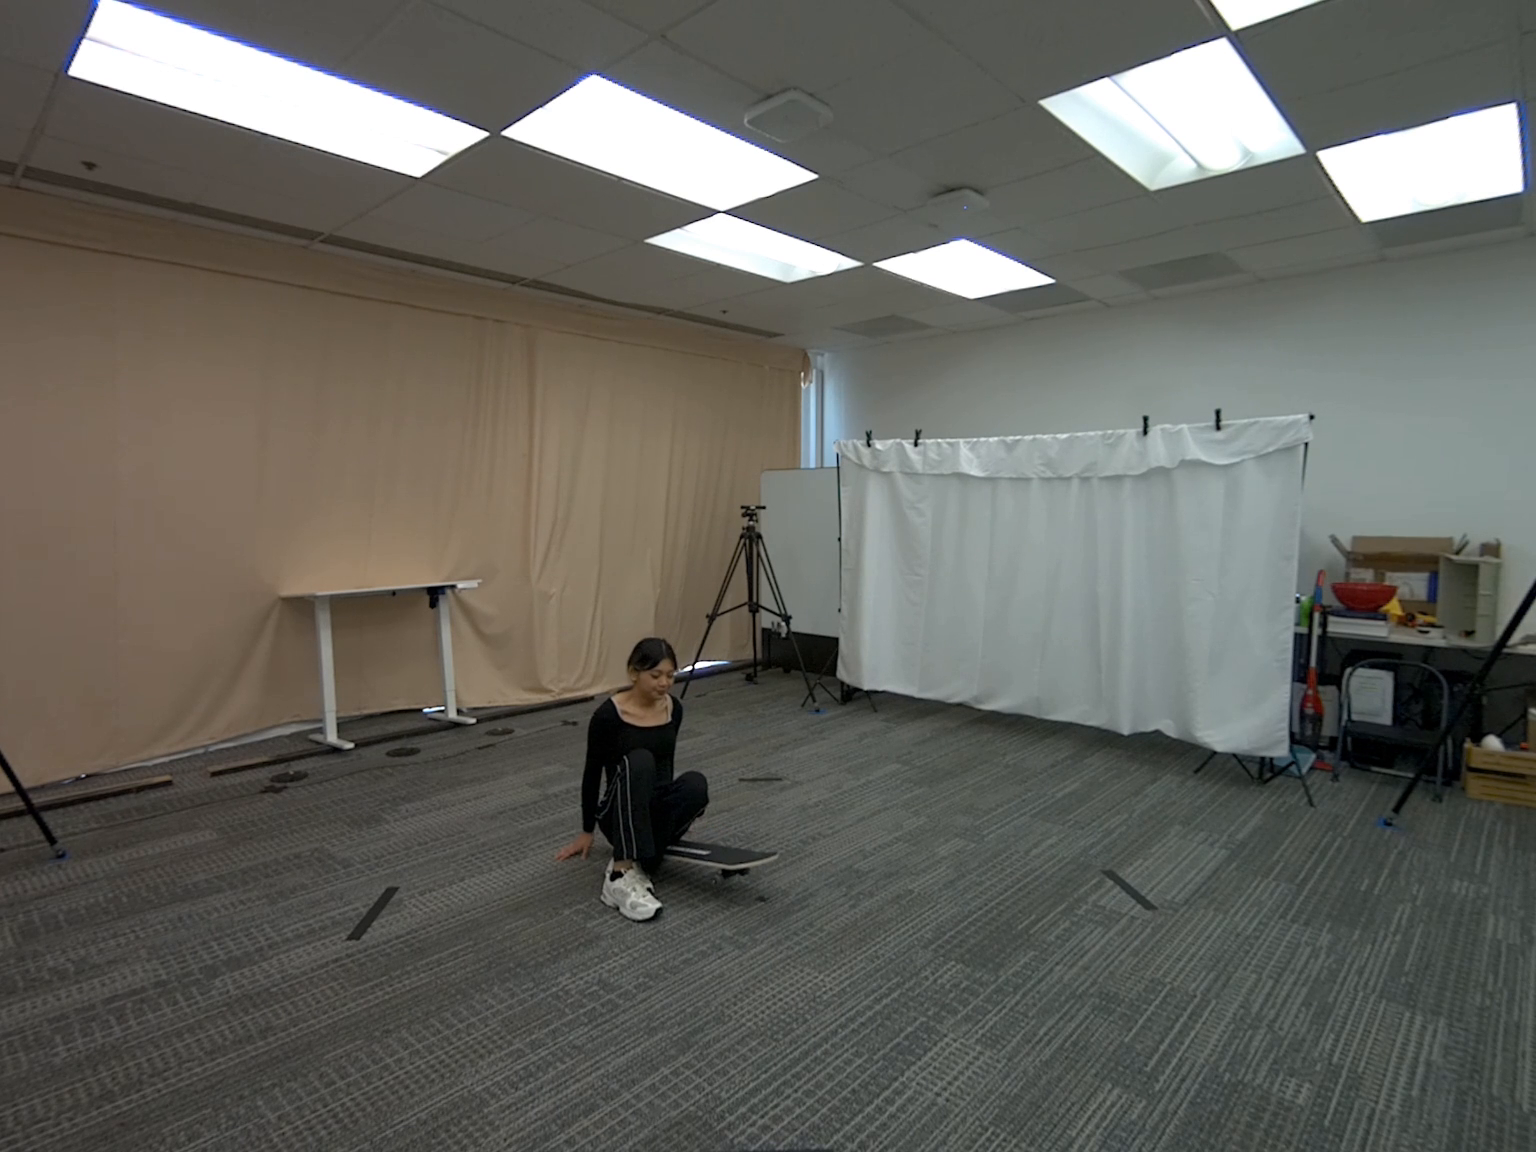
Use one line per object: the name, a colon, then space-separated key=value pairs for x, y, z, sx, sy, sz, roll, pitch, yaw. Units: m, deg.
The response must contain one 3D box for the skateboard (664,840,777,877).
skateboard: x=-0.302 y=1.061 z=3.128 sx=0.808 sy=0.110 sz=0.187 roll=-5 pitch=-3 yaw=37
